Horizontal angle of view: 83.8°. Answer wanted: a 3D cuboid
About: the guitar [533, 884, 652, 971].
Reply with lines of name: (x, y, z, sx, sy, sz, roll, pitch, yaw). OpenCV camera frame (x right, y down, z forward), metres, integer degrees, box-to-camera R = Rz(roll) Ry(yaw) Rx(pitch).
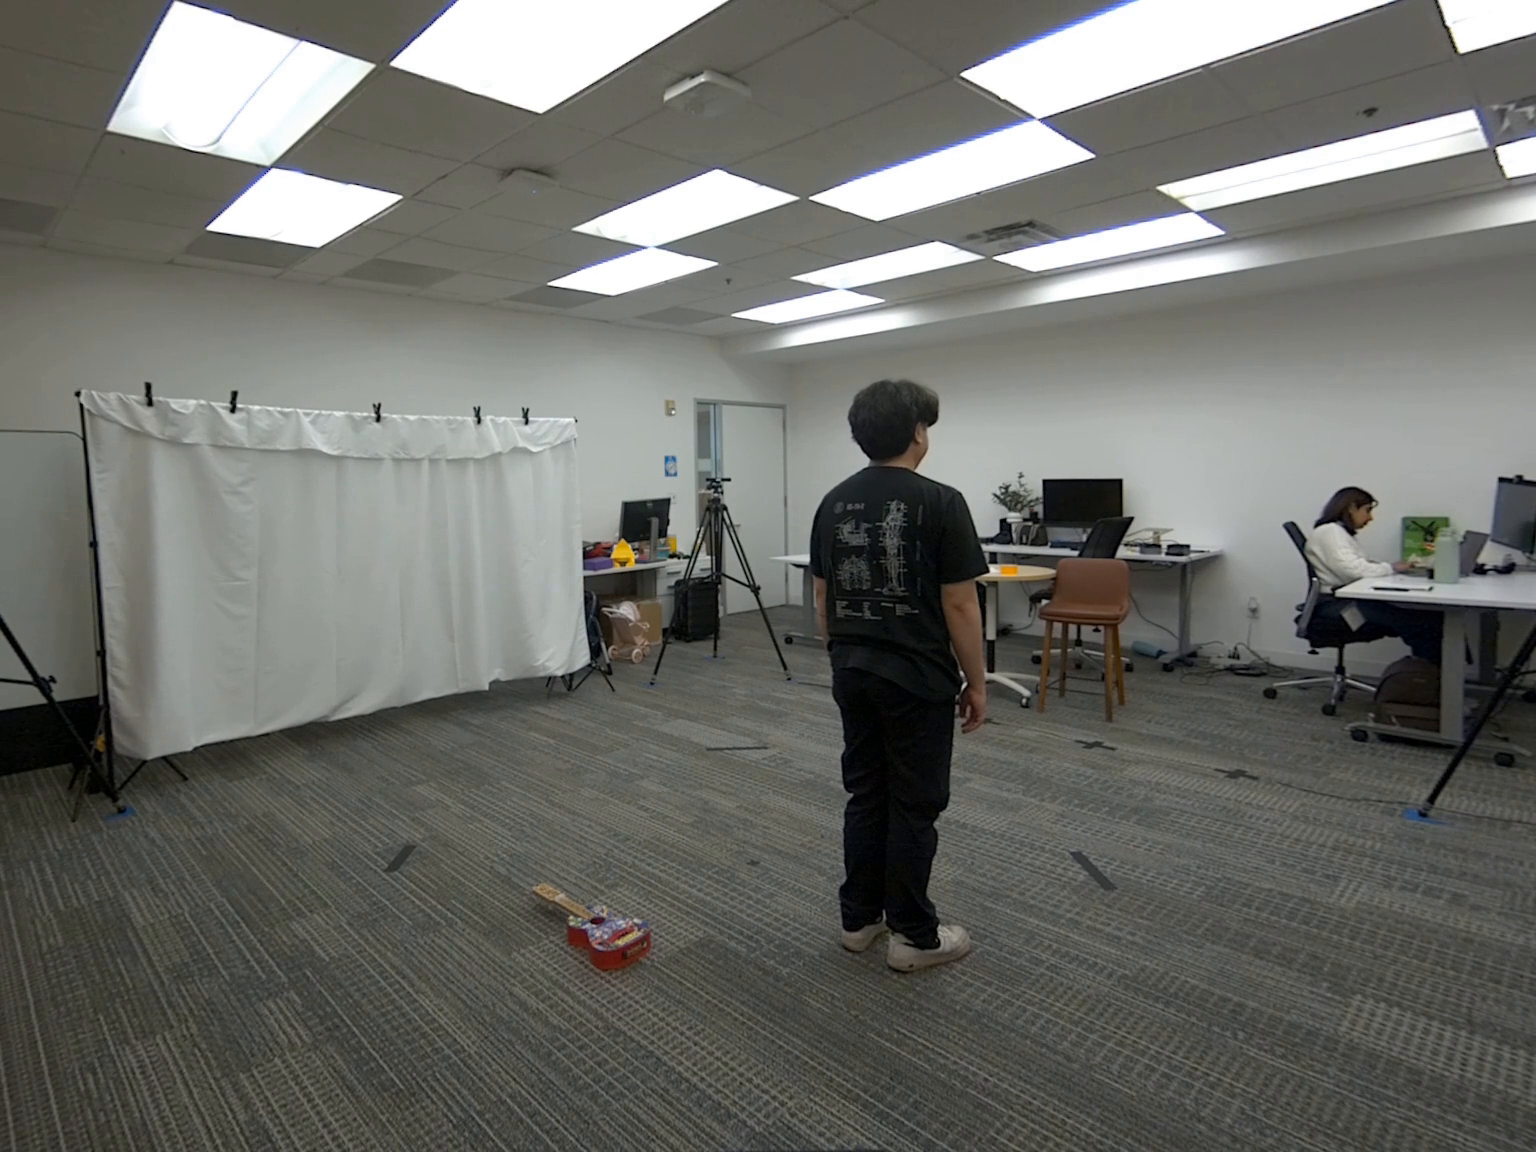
guitar: (-0.545, 1.069, 2.669, 0.188, 0.070, 0.514, -7, 10, -39)
